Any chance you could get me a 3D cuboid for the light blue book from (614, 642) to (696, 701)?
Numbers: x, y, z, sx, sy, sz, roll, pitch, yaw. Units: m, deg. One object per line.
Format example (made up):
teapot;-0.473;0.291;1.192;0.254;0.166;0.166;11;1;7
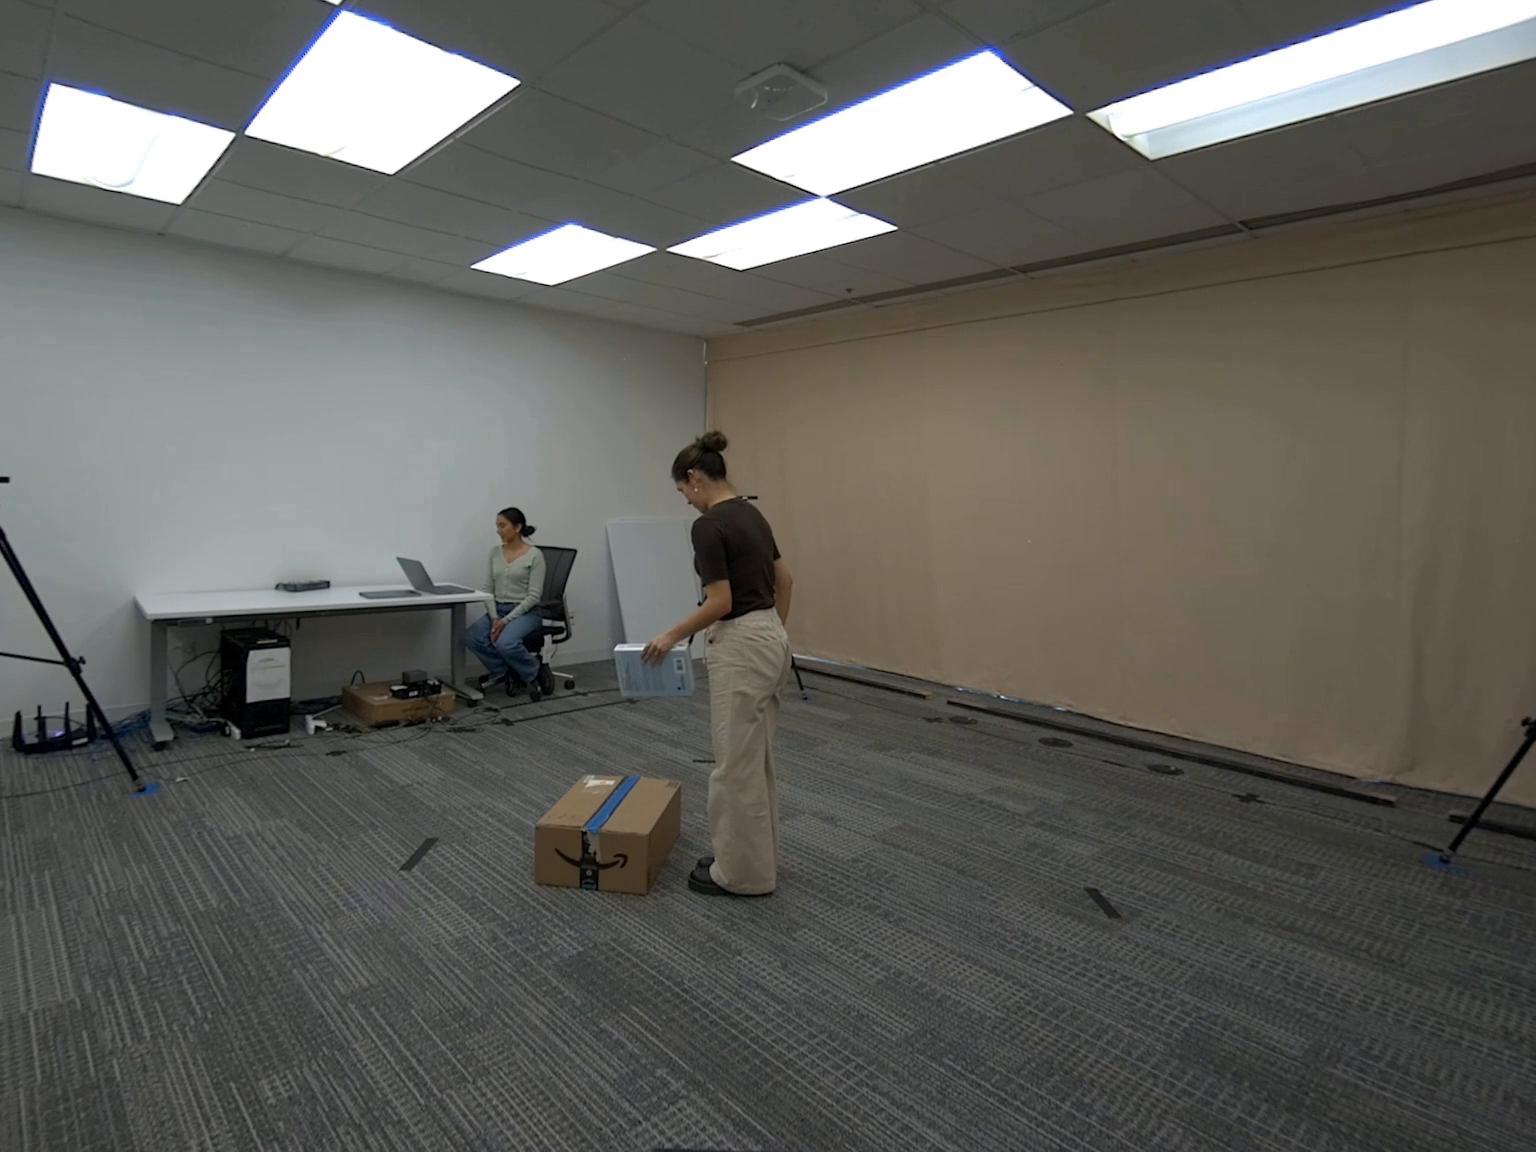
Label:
light blue book;-0.397;0.333;2.965;0.263;0.189;0.059;-1;17;9
